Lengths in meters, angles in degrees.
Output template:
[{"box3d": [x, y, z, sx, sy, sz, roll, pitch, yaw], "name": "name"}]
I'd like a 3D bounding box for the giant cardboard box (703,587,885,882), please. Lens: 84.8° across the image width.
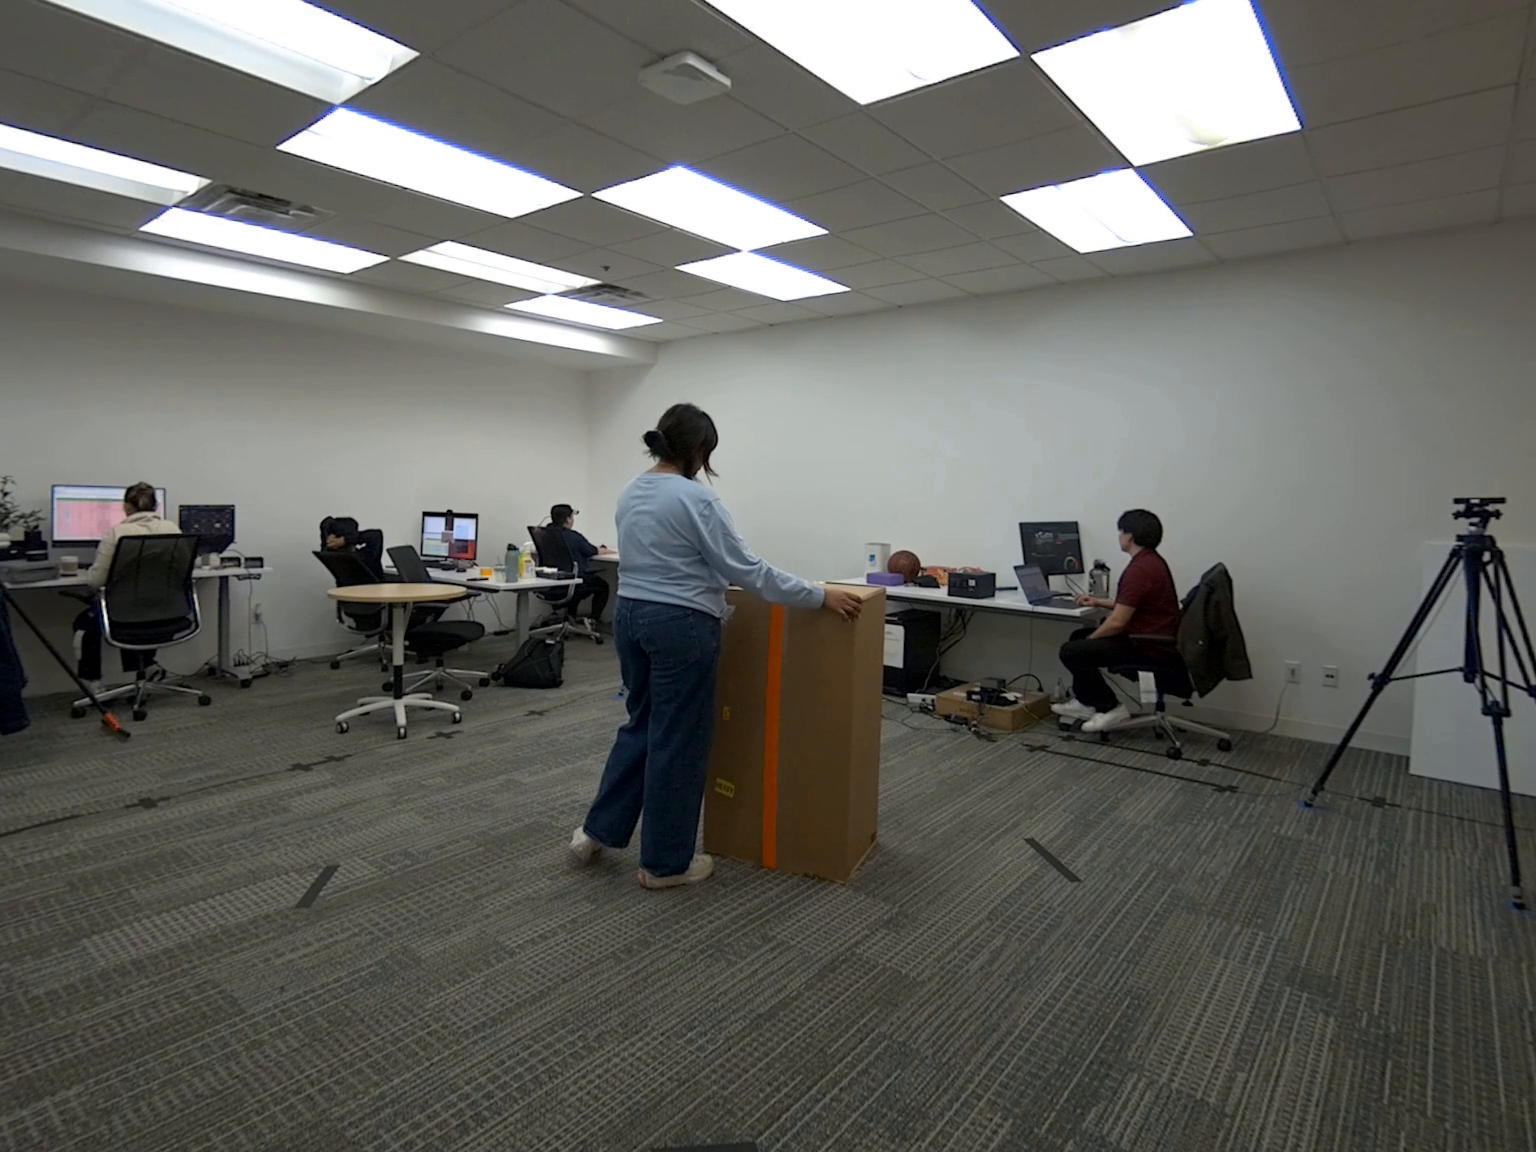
[{"box3d": [0.102, 0.553, 3.296, 0.599, 1.024, 0.437, 4, 4, 24], "name": "giant cardboard box"}]
